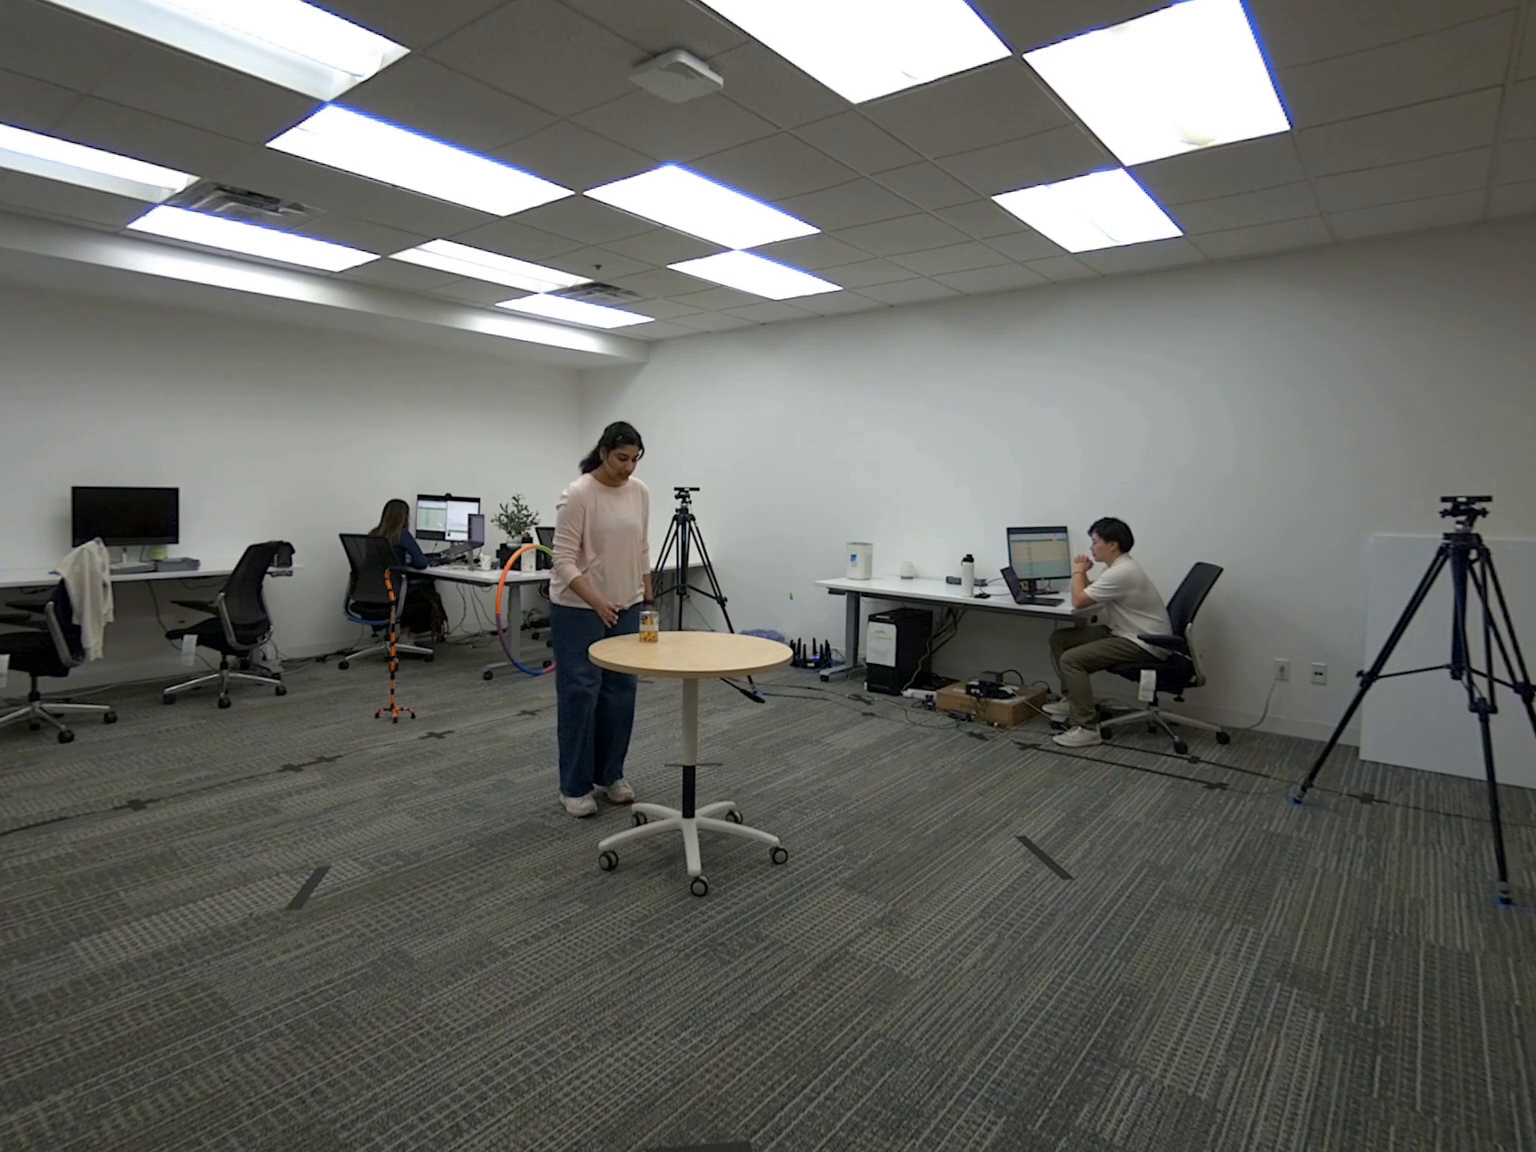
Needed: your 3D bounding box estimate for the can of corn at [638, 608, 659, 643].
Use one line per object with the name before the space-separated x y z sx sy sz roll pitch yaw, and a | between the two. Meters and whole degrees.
can of corn | -0.482 0.198 3.348 0.074 0.111 0.074 1 3 -2
